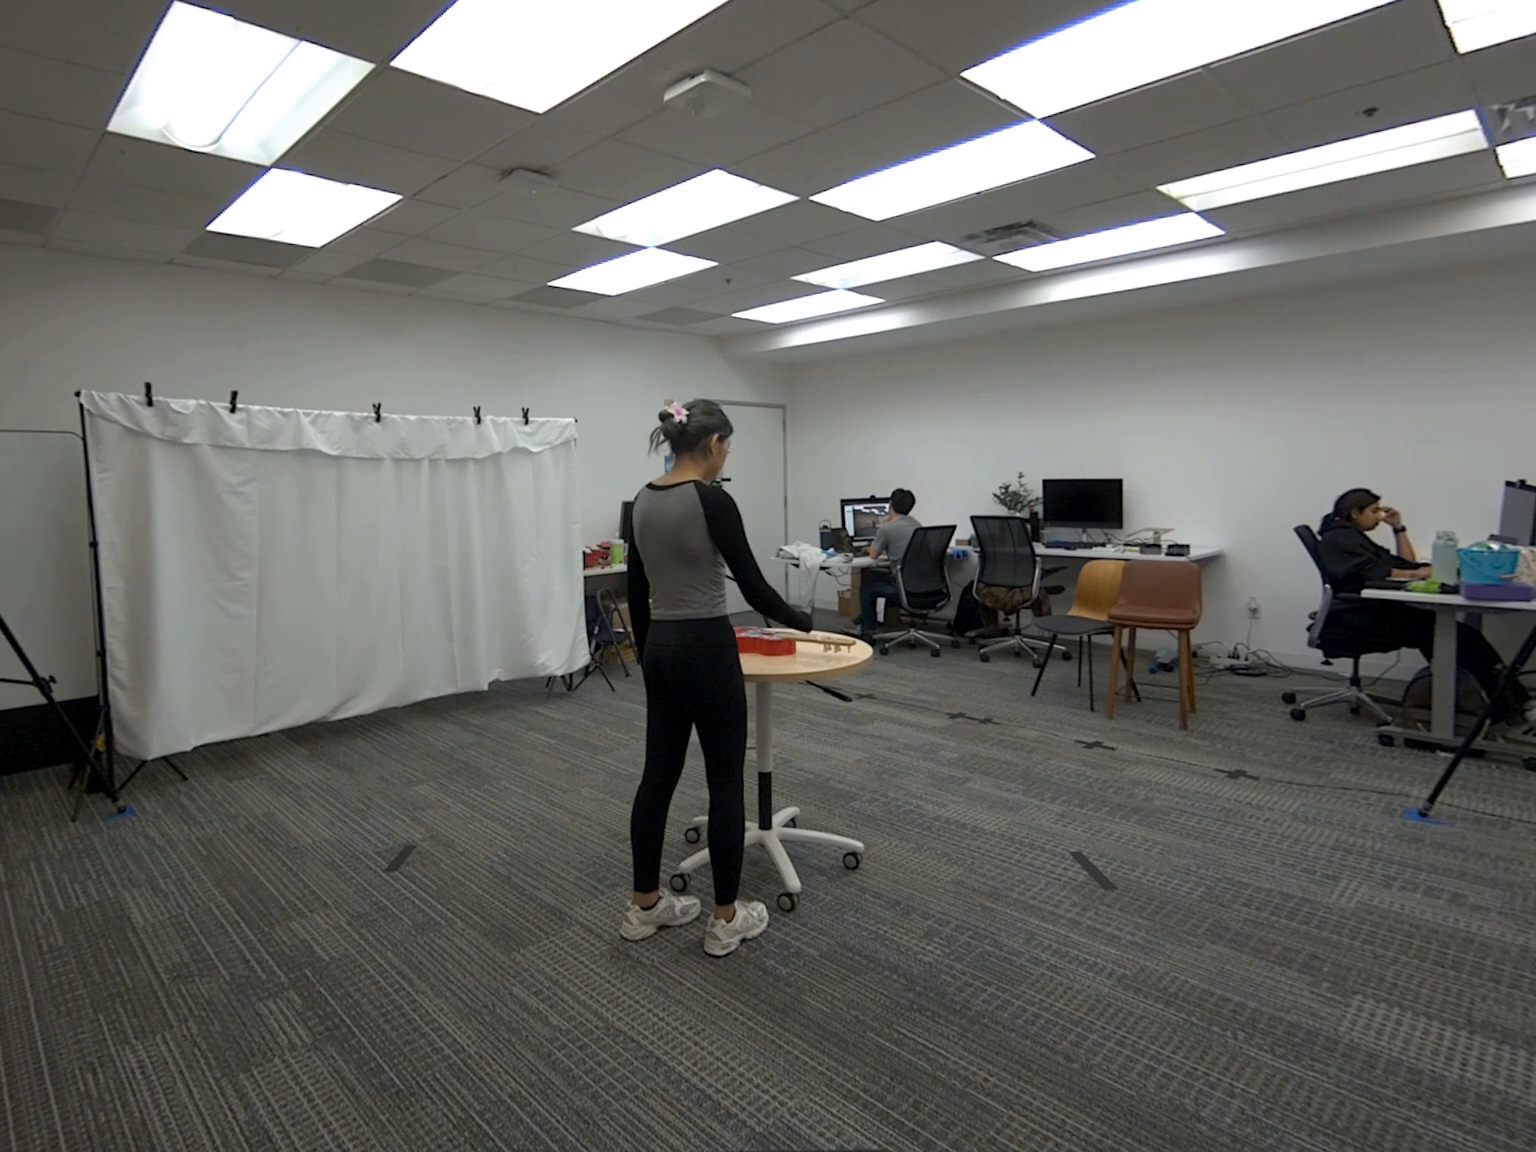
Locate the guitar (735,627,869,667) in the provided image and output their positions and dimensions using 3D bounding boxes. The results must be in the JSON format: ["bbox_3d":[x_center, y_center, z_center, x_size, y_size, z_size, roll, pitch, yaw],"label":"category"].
[{"bbox_3d":[0.049,0.237,2.925,0.513,0.070,0.188,5,9,37],"label":"guitar"}]
